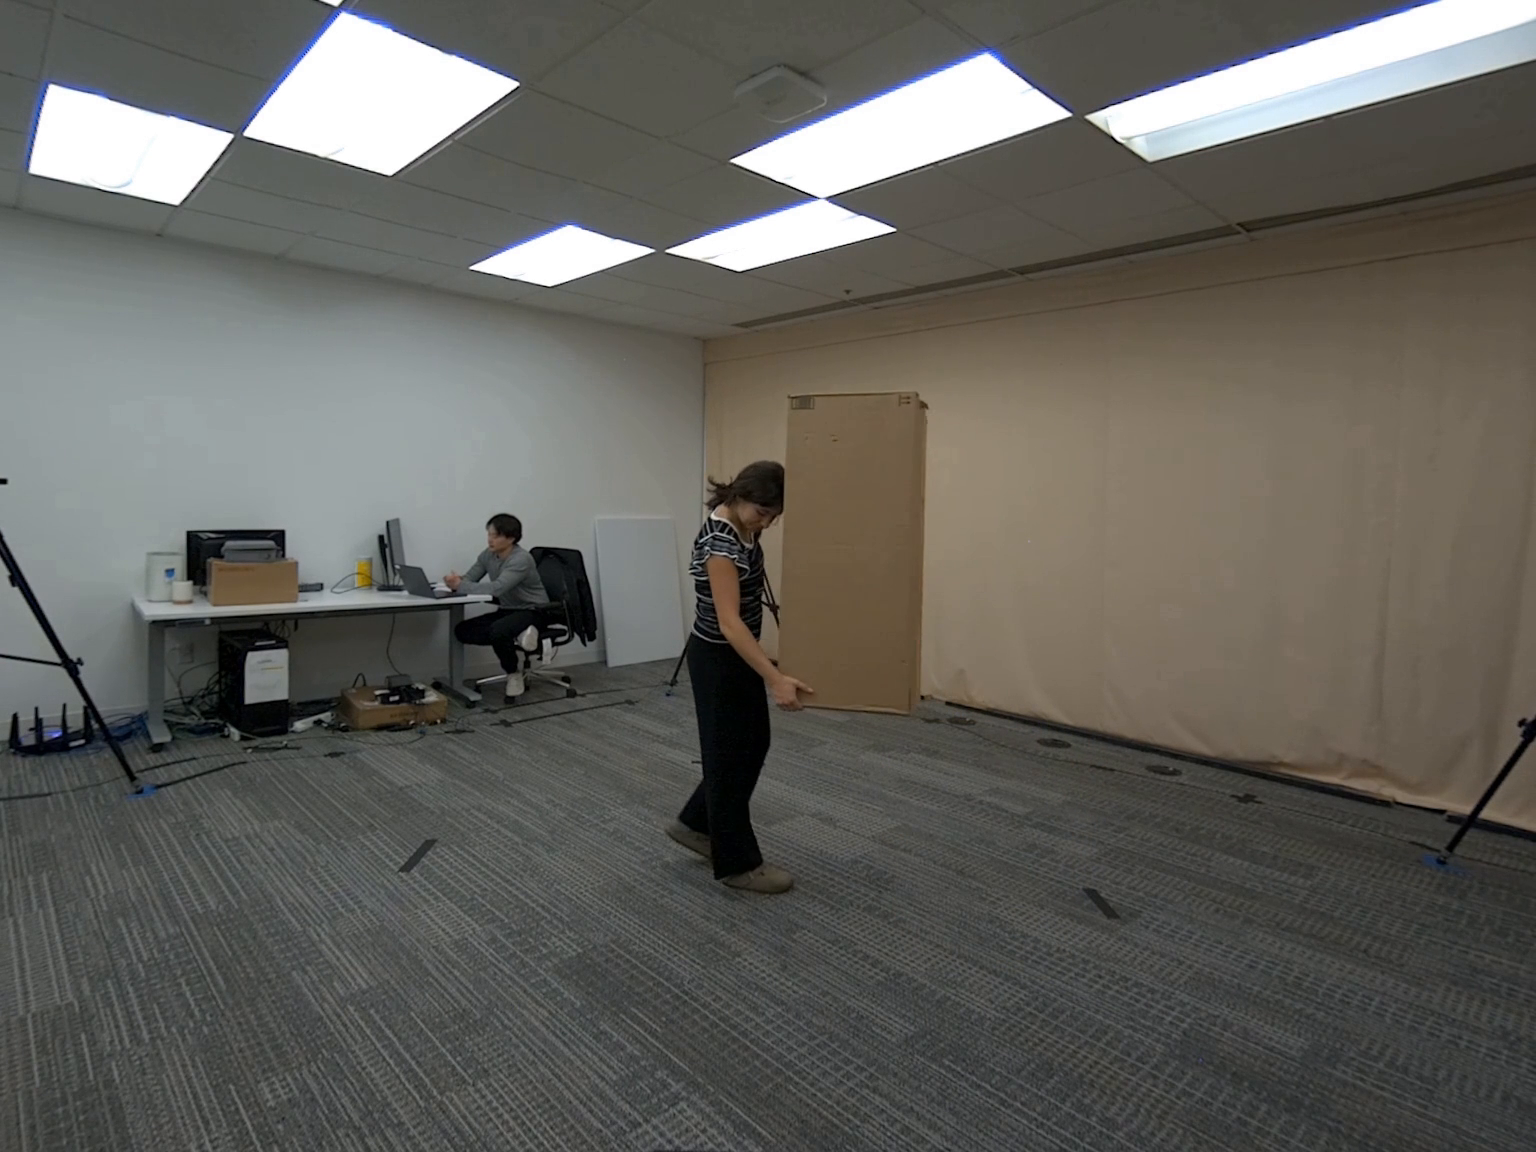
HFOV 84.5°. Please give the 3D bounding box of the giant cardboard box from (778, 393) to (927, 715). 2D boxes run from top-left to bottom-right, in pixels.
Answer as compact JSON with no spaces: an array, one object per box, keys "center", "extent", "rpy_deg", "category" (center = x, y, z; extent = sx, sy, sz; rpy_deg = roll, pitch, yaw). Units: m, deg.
[{"center":[0.309,-0.064,2.946],"extent":[0.432,1.029,0.568],"rpy_deg":[2,-4,15],"category":"giant cardboard box"}]
